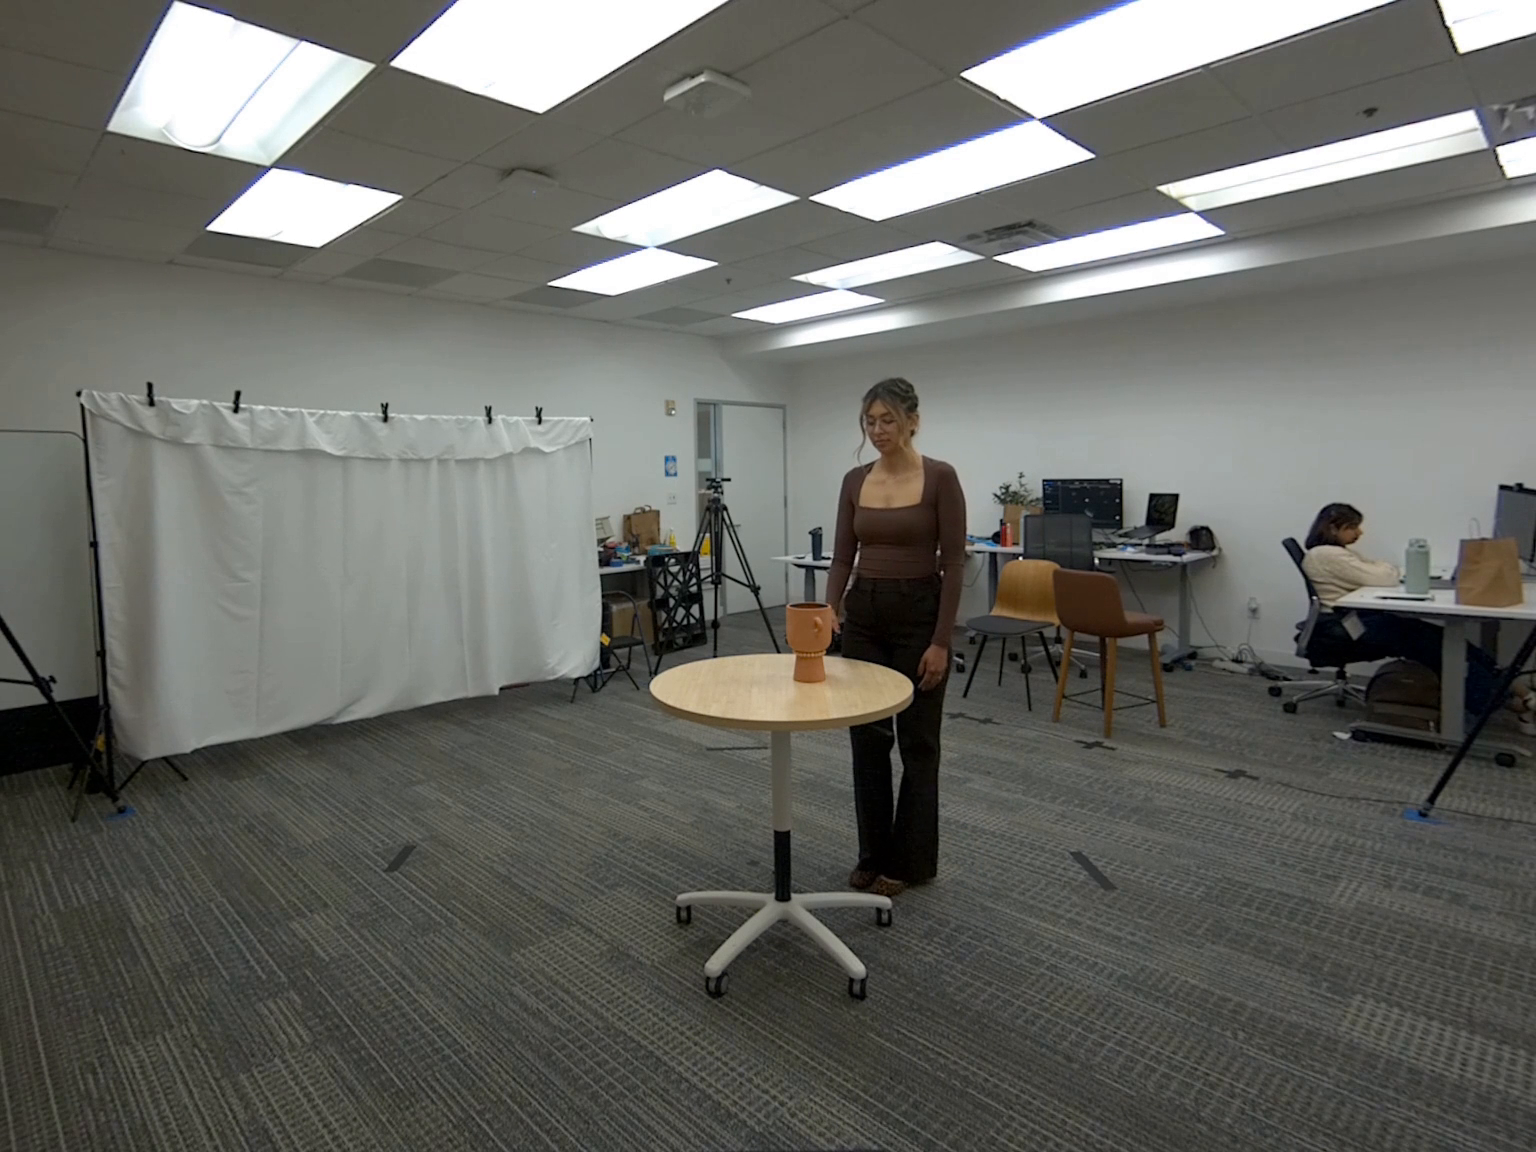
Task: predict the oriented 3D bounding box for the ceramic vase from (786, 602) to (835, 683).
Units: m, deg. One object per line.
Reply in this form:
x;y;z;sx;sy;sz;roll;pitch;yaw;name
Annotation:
0.129;0.200;2.535;0.137;0.218;0.156;3;8;22;ceramic vase
